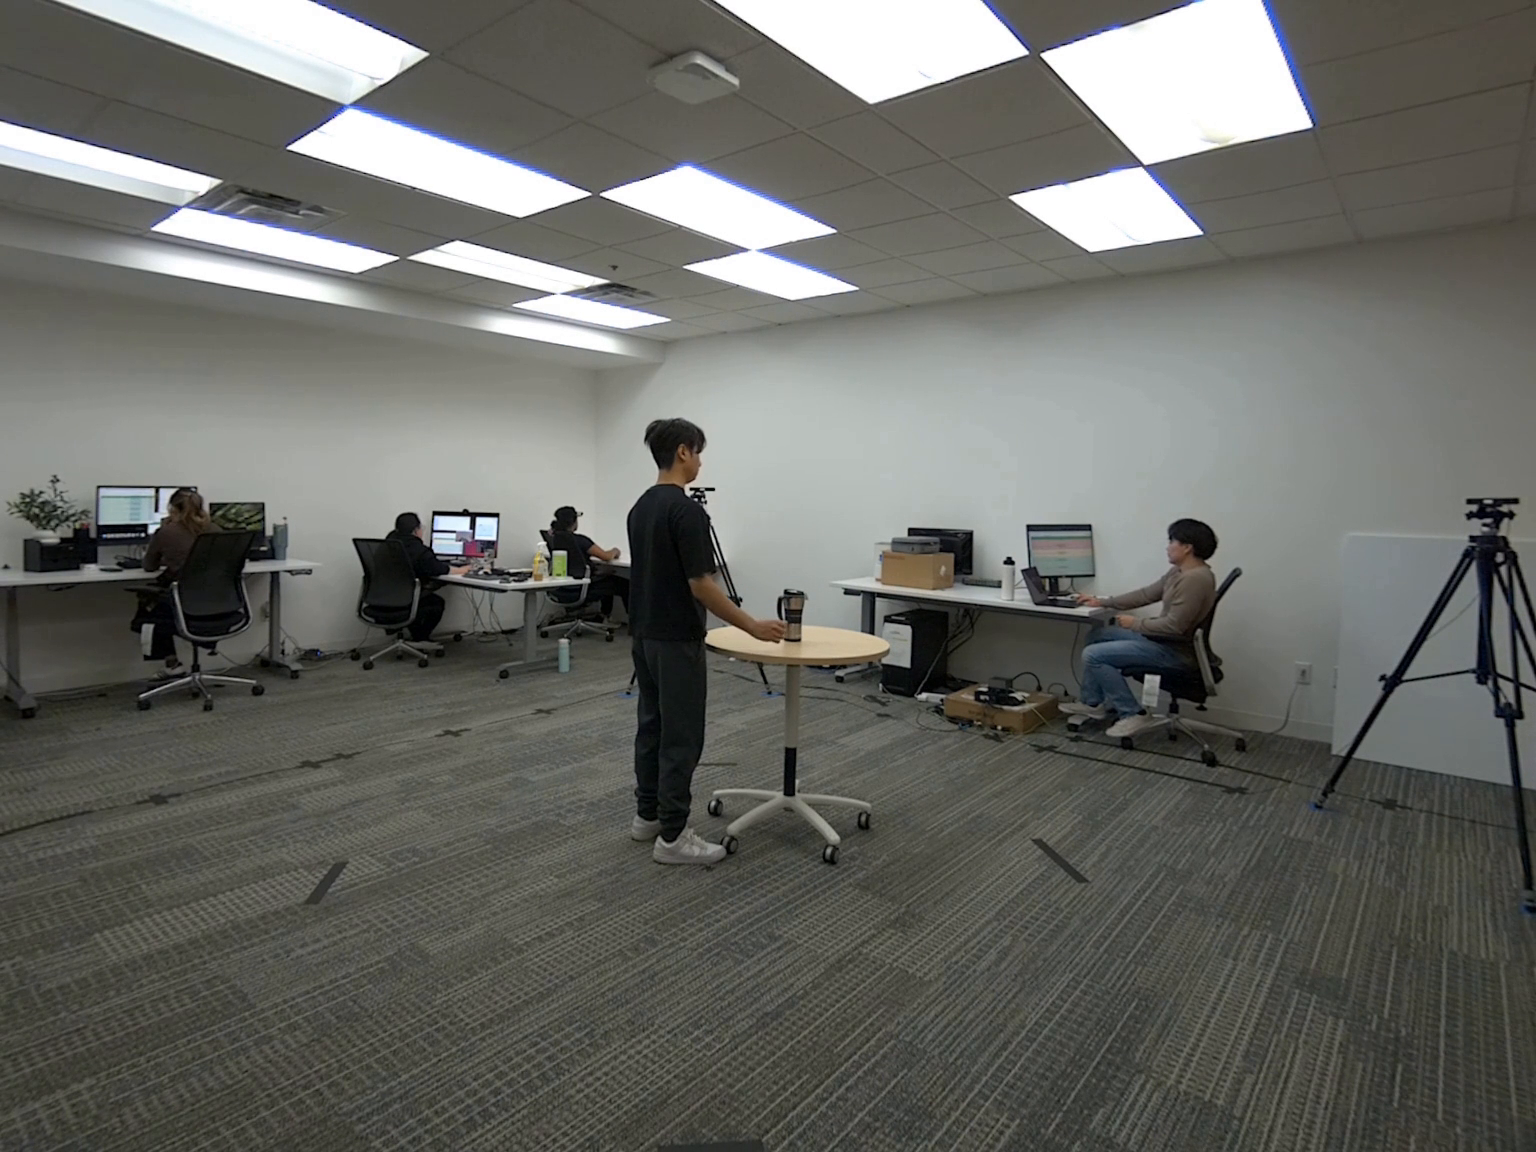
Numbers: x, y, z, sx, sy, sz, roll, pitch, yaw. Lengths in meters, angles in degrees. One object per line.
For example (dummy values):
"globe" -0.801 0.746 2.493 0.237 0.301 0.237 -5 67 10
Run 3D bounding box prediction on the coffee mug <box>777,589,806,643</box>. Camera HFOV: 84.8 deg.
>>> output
"coffee mug" 0.076 0.158 3.435 0.126 0.201 0.086 8 11 33
